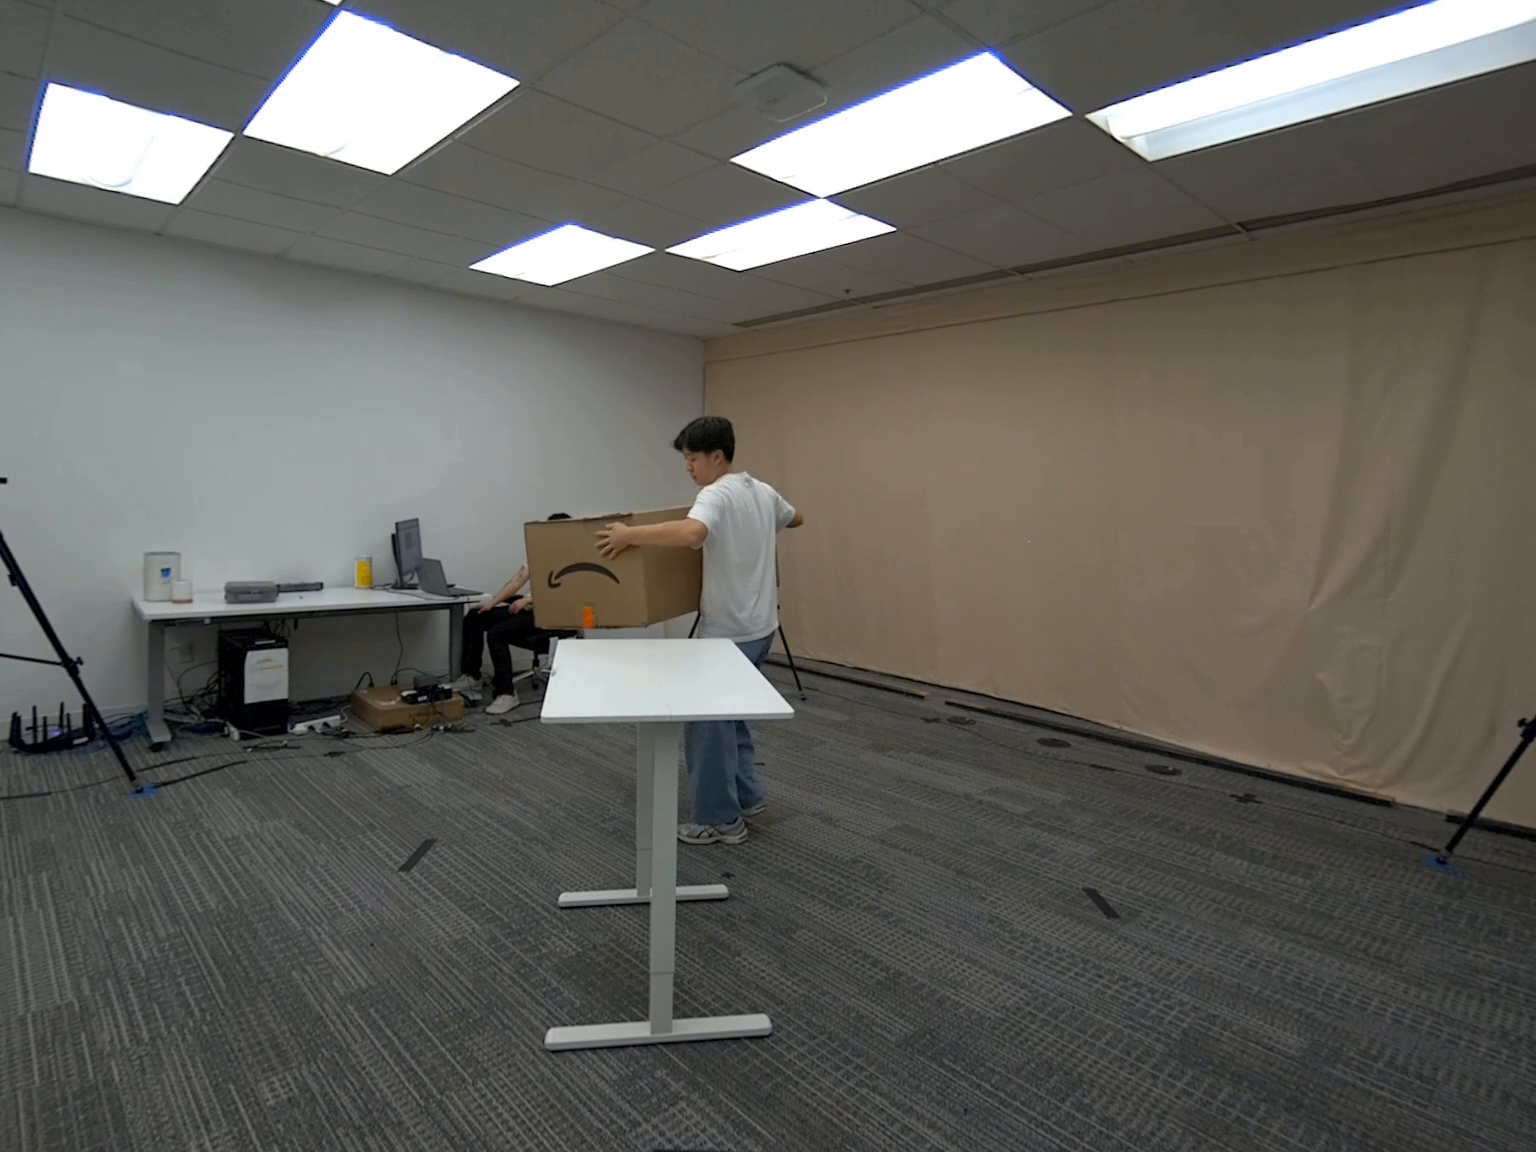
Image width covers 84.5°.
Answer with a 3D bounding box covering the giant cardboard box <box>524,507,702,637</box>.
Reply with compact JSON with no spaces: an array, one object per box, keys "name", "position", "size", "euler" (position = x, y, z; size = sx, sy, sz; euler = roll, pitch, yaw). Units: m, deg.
[{"name":"giant cardboard box","position":[-0.467,-0.076,3.652],"size":[0.589,0.424,1.009],"euler":[-1,7,30]}]
